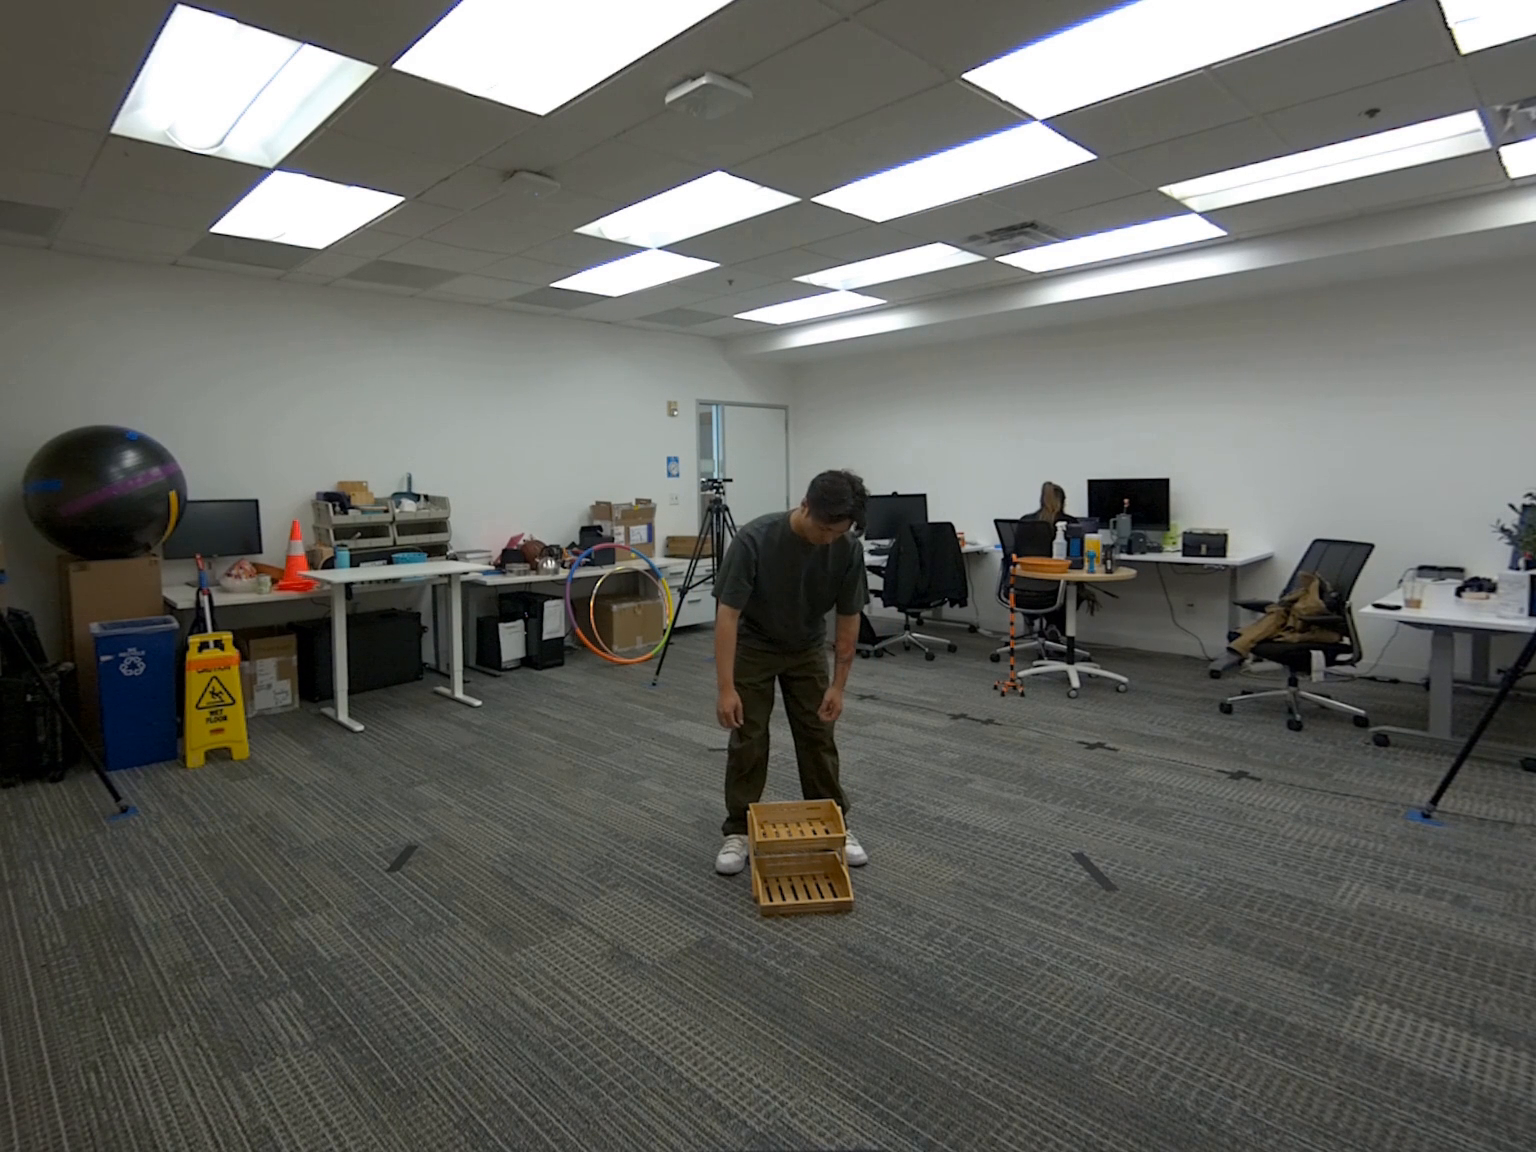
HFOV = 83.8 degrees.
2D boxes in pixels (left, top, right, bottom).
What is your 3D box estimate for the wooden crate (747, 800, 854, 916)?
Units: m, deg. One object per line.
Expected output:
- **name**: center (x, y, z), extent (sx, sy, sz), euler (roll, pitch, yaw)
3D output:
- **wooden crate**: center (0.107, 0.943, 2.856), extent (0.322, 0.272, 0.305), euler (-2, 6, -7)
